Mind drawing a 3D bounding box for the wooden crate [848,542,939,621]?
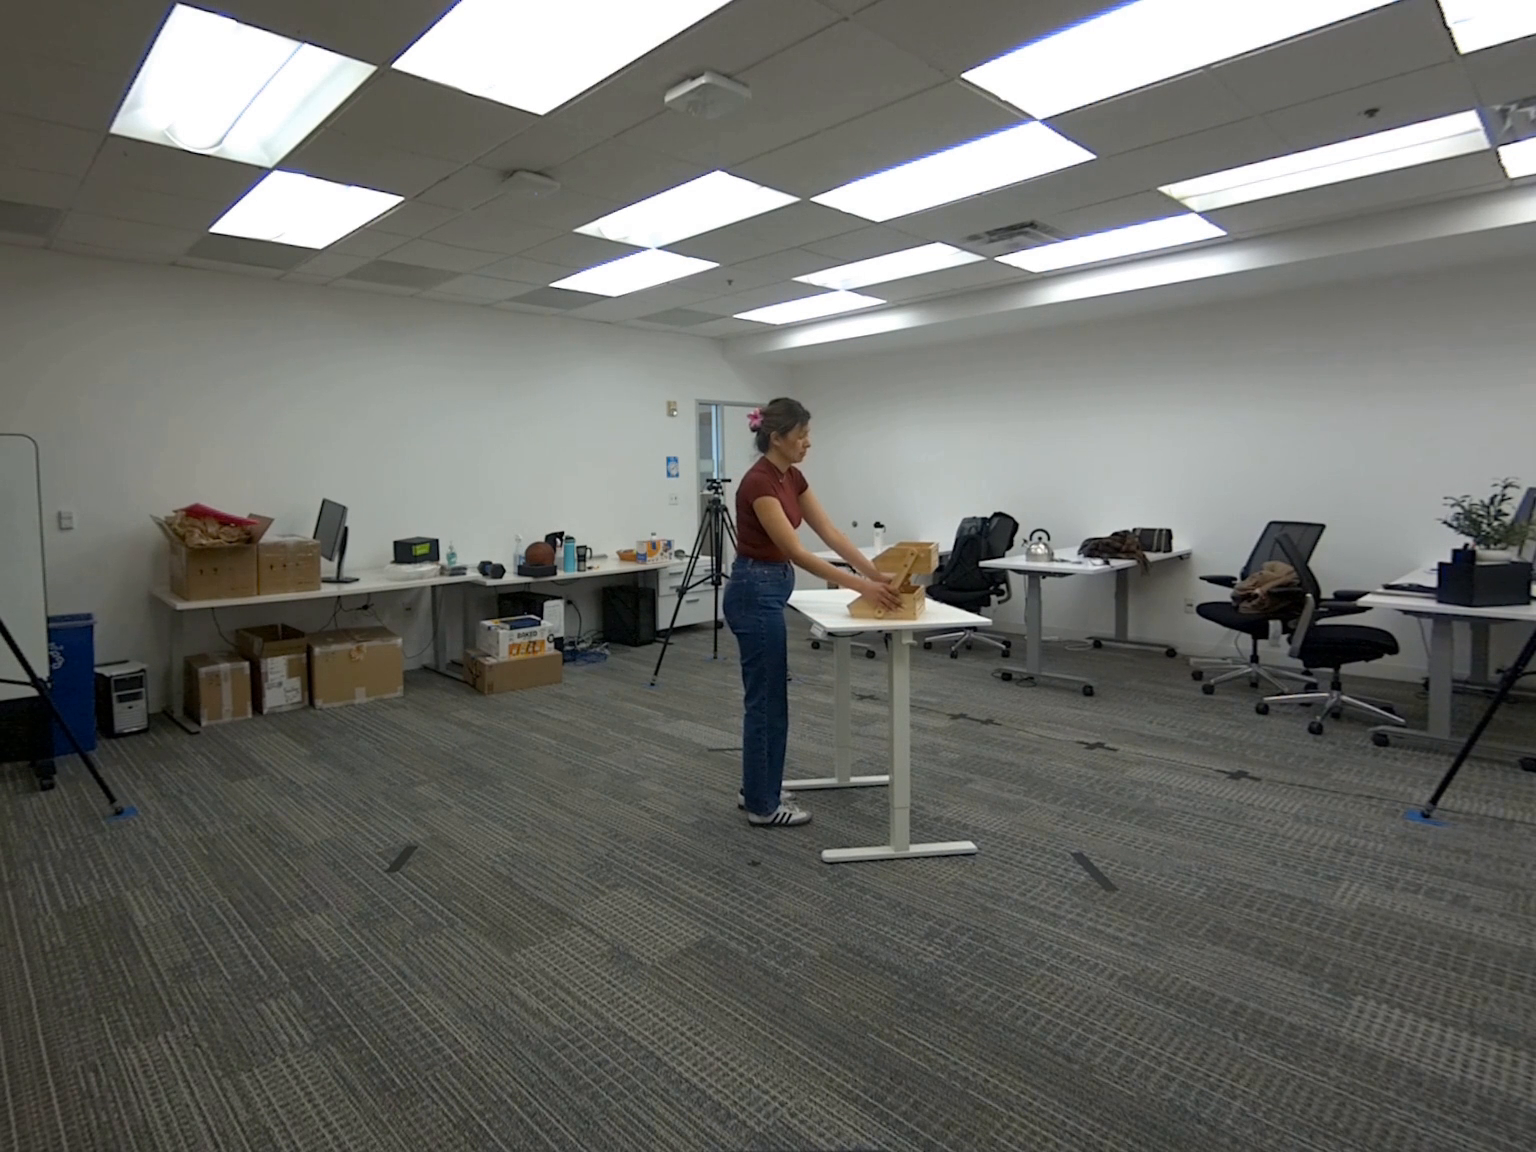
[{"bbox_3d":[0.468,0.010,3.211,0.307,0.272,0.320,1,5,17],"label":"wooden crate"}]
